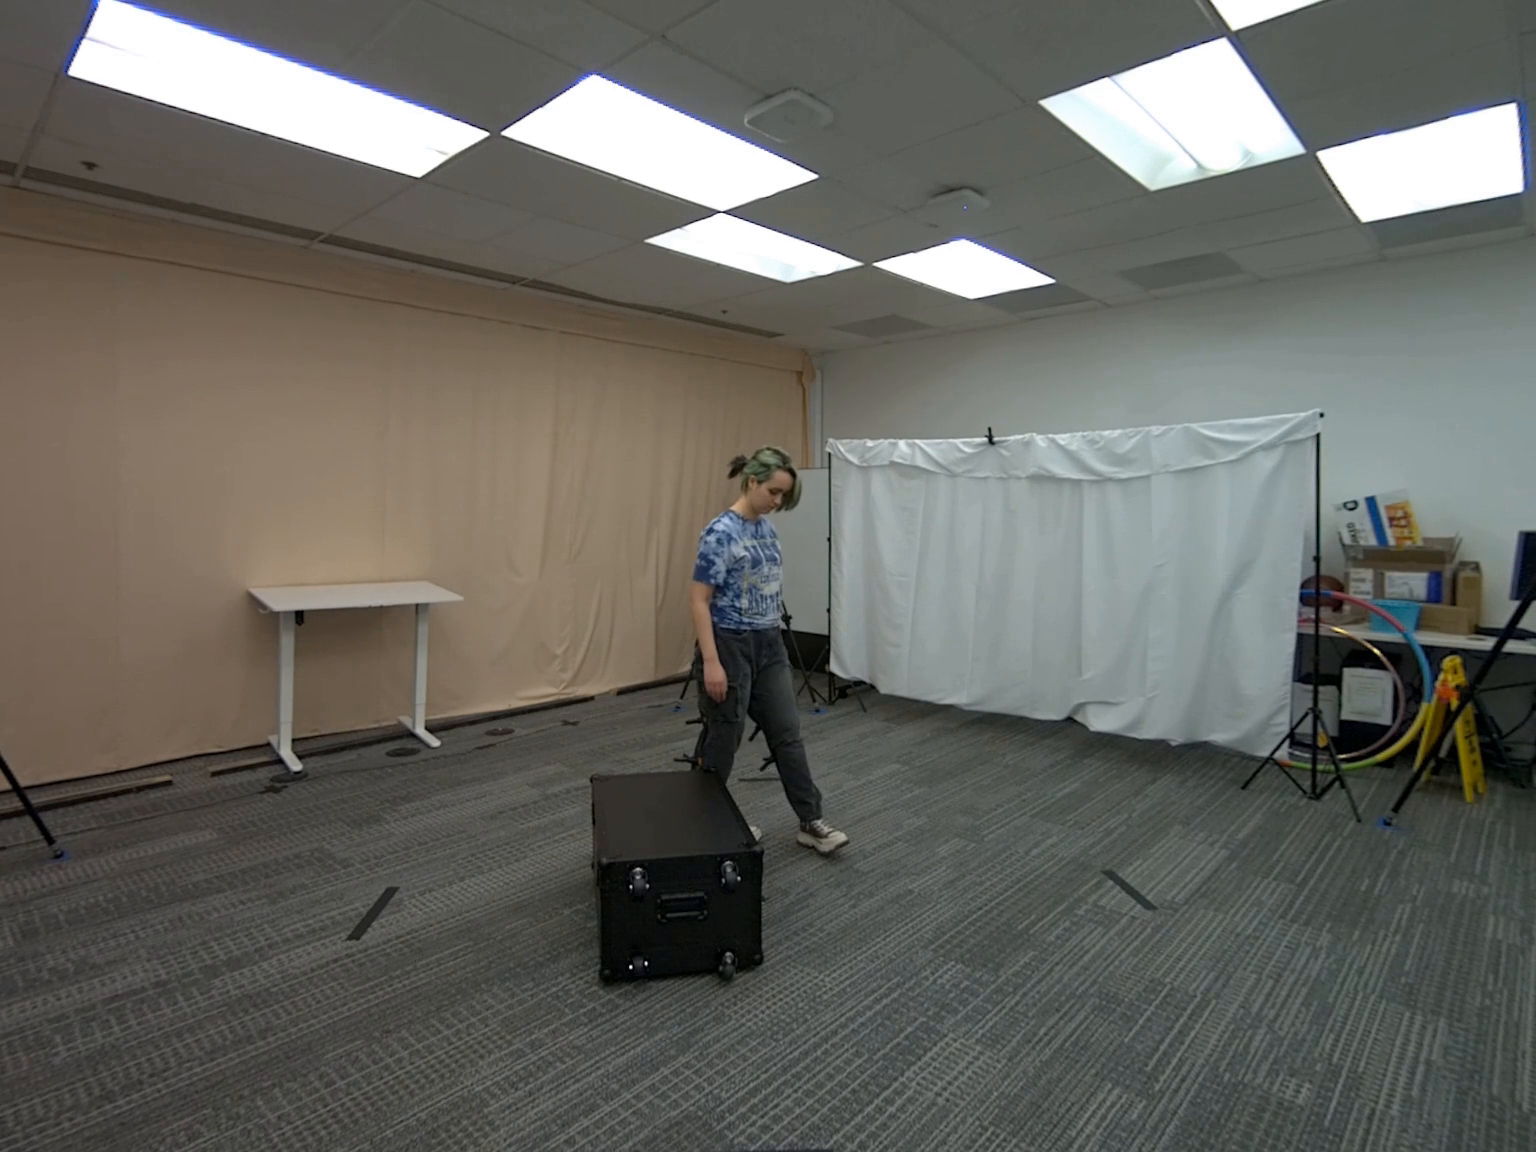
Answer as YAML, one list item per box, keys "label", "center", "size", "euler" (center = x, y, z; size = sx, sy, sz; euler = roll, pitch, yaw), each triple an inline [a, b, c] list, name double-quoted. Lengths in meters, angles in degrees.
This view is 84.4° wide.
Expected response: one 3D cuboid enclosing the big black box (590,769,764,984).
- label: "big black box"
  center: [-0.347, 0.962, 2.871]
  size: [0.514, 0.395, 0.875]
  euler: [-1, 4, -14]
